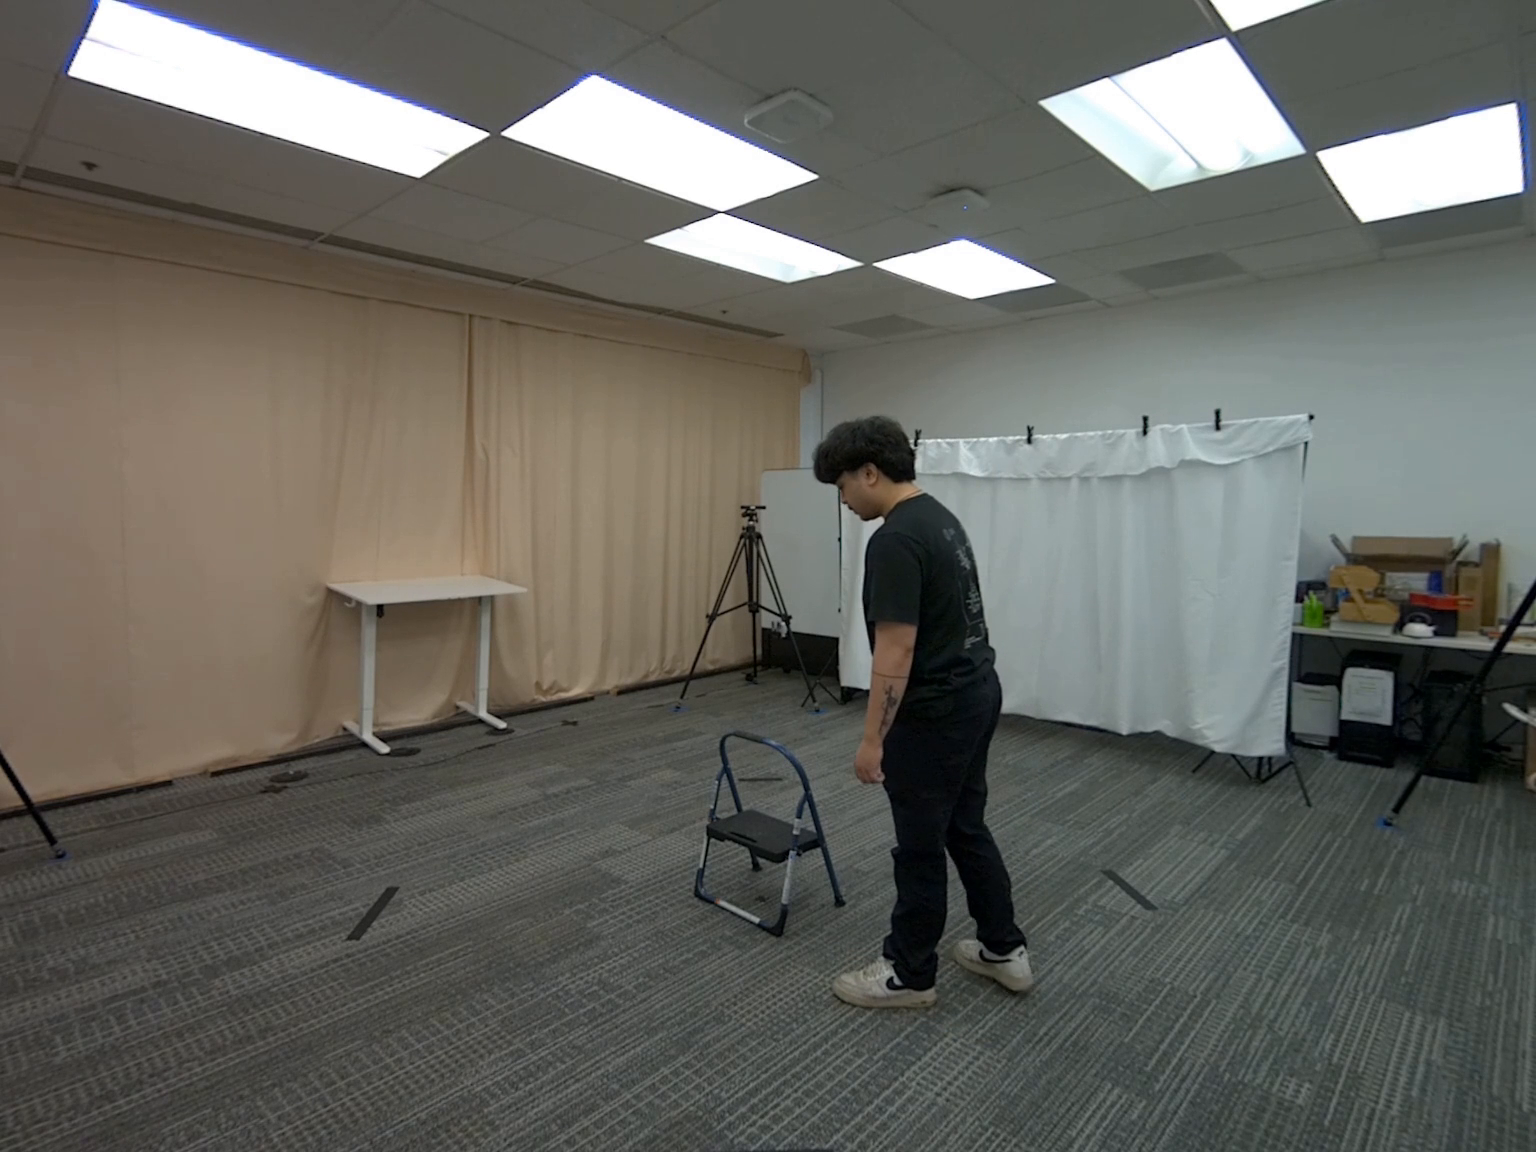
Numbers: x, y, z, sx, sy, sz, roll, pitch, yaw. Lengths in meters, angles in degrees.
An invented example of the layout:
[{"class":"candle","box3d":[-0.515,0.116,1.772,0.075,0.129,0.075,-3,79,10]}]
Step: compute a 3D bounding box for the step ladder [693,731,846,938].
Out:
[{"class":"step ladder","box3d":[0.004,0.841,2.959,0.445,0.605,0.338,3,4,43]}]
